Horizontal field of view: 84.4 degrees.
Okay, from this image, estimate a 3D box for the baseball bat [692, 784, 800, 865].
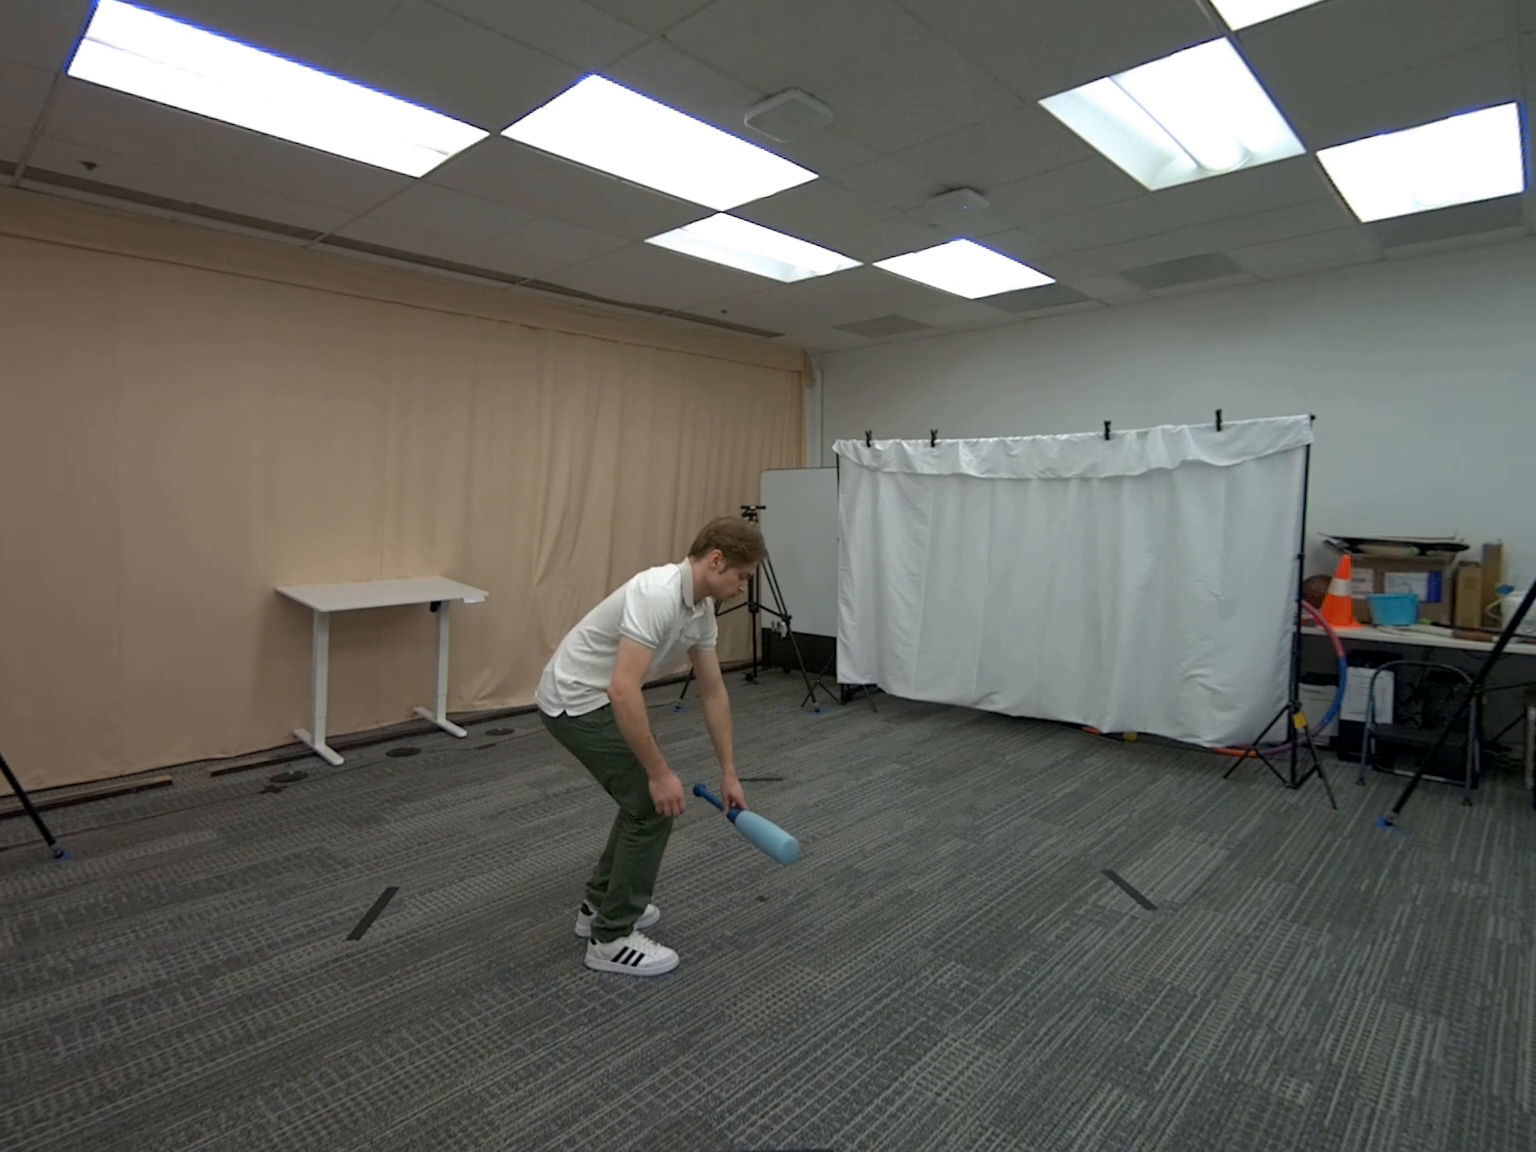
[{"bbox_3d":[-0.084,0.785,2.723,0.086,0.089,0.561,-2,8,-34],"label":"baseball bat"}]
